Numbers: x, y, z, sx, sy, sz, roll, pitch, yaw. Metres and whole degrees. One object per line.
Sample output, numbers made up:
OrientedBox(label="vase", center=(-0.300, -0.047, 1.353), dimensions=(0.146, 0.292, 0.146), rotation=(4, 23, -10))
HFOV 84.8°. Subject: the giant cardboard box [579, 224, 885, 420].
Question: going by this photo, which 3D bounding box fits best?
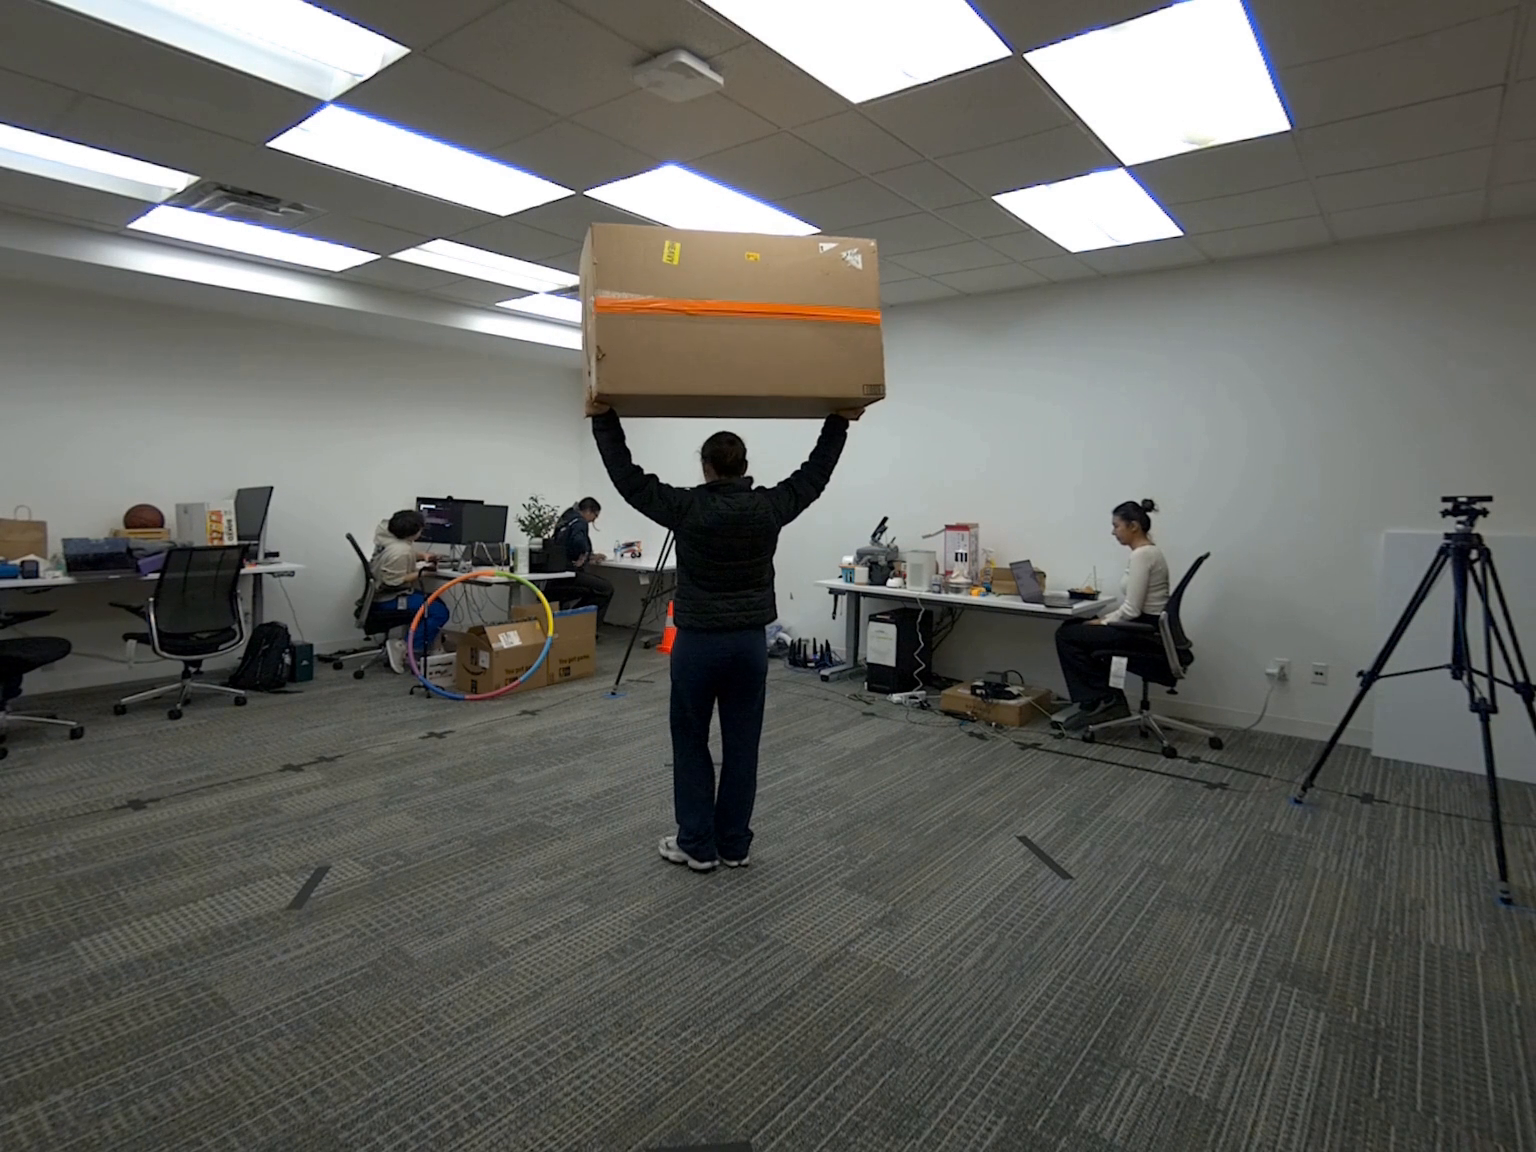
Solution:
OrientedBox(label="giant cardboard box", center=(-0.138, -0.895, 3.110), dimensions=(1.012, 0.585, 0.453), rotation=(-3, -1, -15))
